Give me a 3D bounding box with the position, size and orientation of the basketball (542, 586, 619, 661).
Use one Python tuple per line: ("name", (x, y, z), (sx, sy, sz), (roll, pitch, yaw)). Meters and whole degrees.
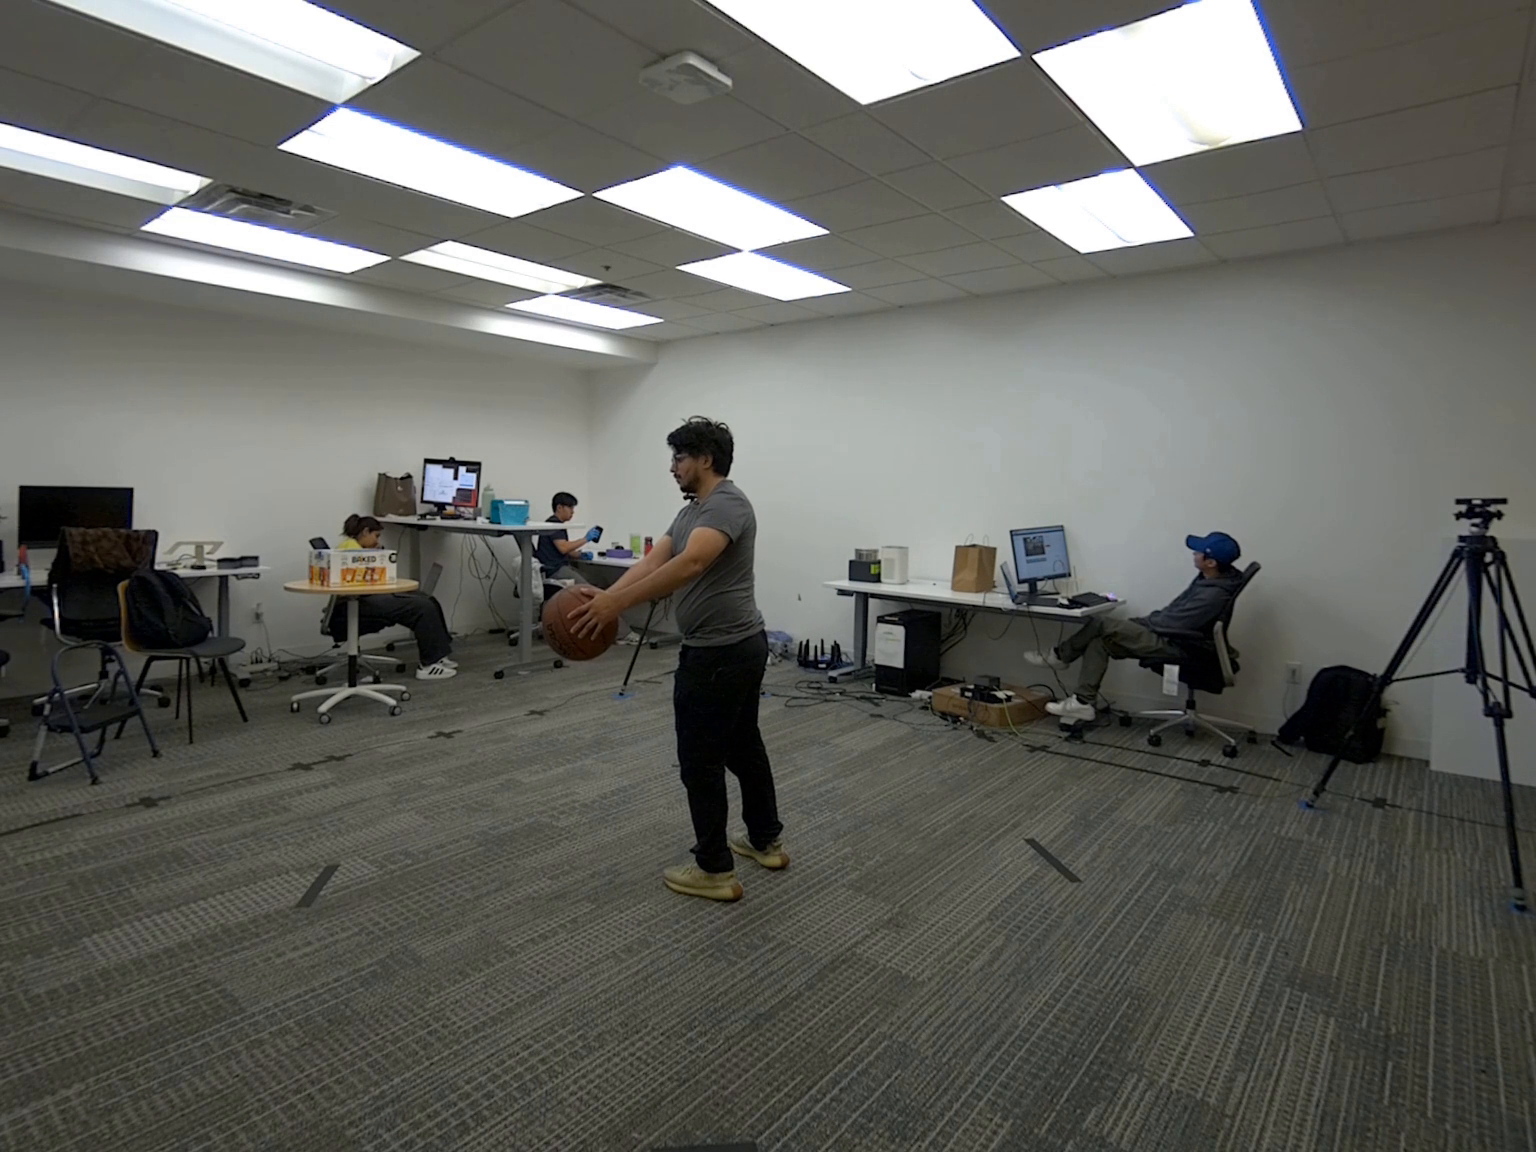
("basketball", (-0.600, 0.138, 2.657), (0.235, 0.235, 0.237), (1, 4, -2))
